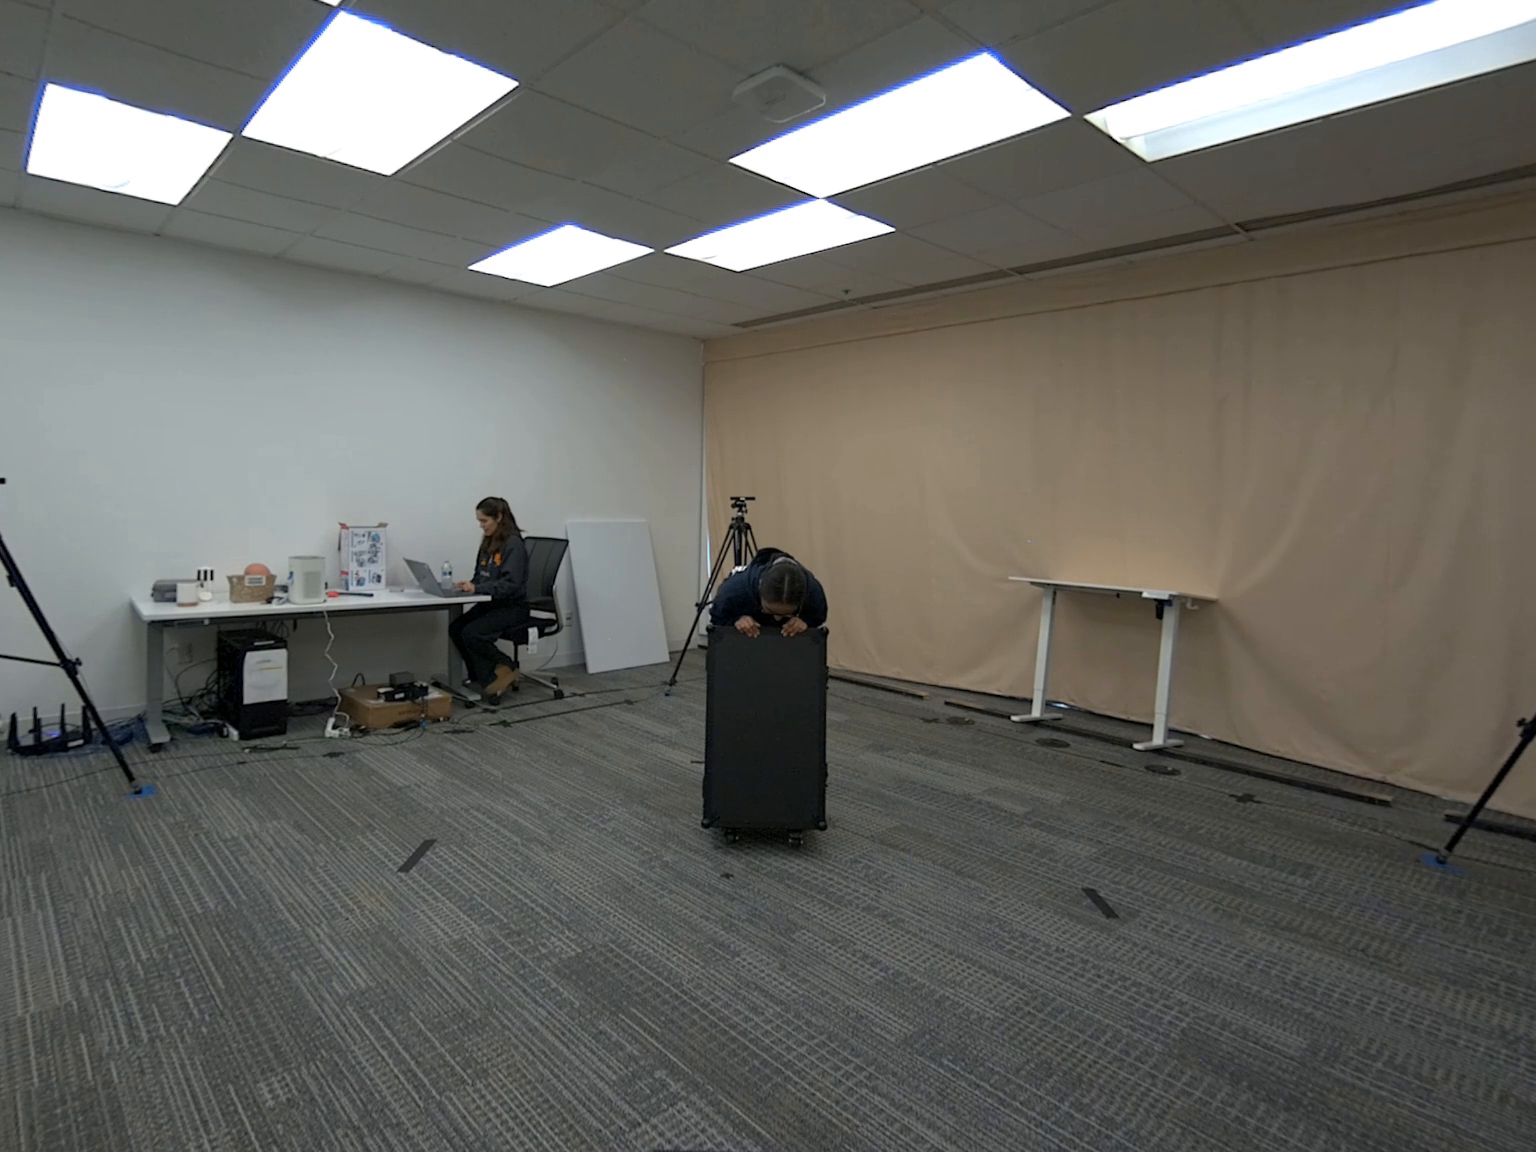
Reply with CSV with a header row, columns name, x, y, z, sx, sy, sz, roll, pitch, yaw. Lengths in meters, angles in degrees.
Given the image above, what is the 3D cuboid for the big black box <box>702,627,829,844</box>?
name,x,y,z,sx,sy,sz,roll,pitch,yaw
big black box,-0.032,0.644,3.491,0.521,0.866,0.394,1,-6,-1
